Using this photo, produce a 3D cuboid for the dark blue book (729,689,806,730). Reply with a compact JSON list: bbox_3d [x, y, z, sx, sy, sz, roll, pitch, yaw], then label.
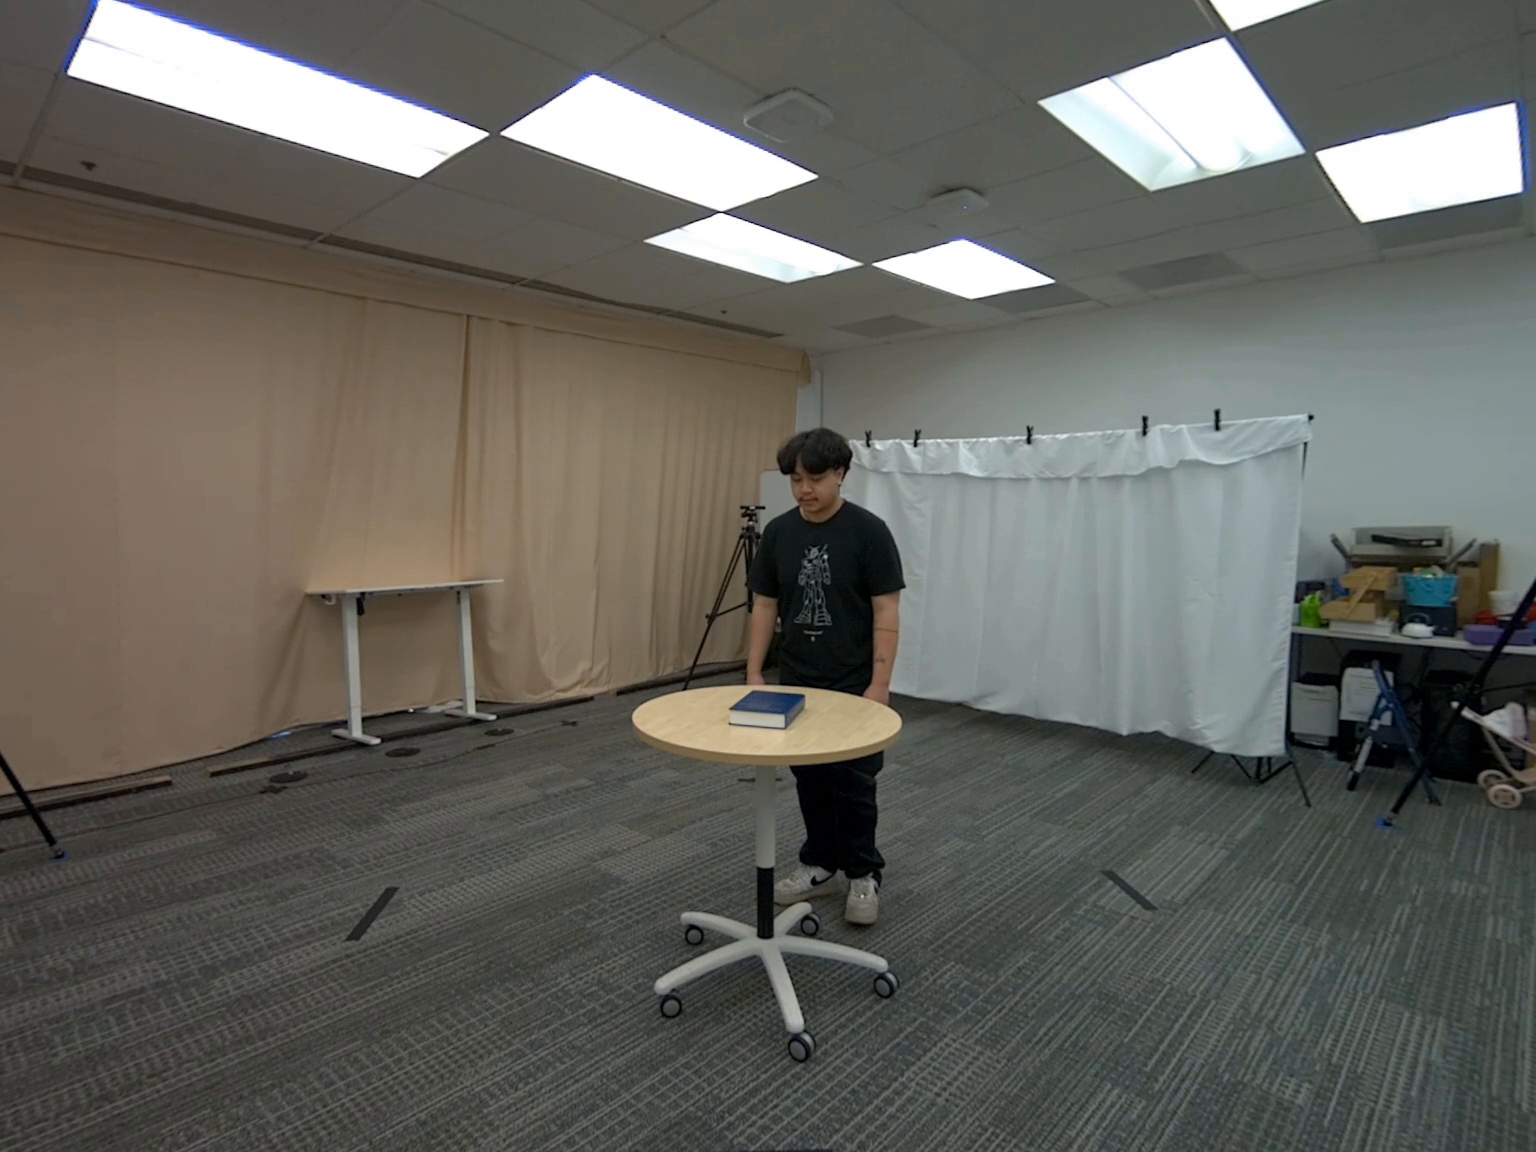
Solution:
[{"bbox_3d":[0.004,0.381,2.397,0.166,0.045,0.241,1,6,16],"label":"dark blue book"}]
